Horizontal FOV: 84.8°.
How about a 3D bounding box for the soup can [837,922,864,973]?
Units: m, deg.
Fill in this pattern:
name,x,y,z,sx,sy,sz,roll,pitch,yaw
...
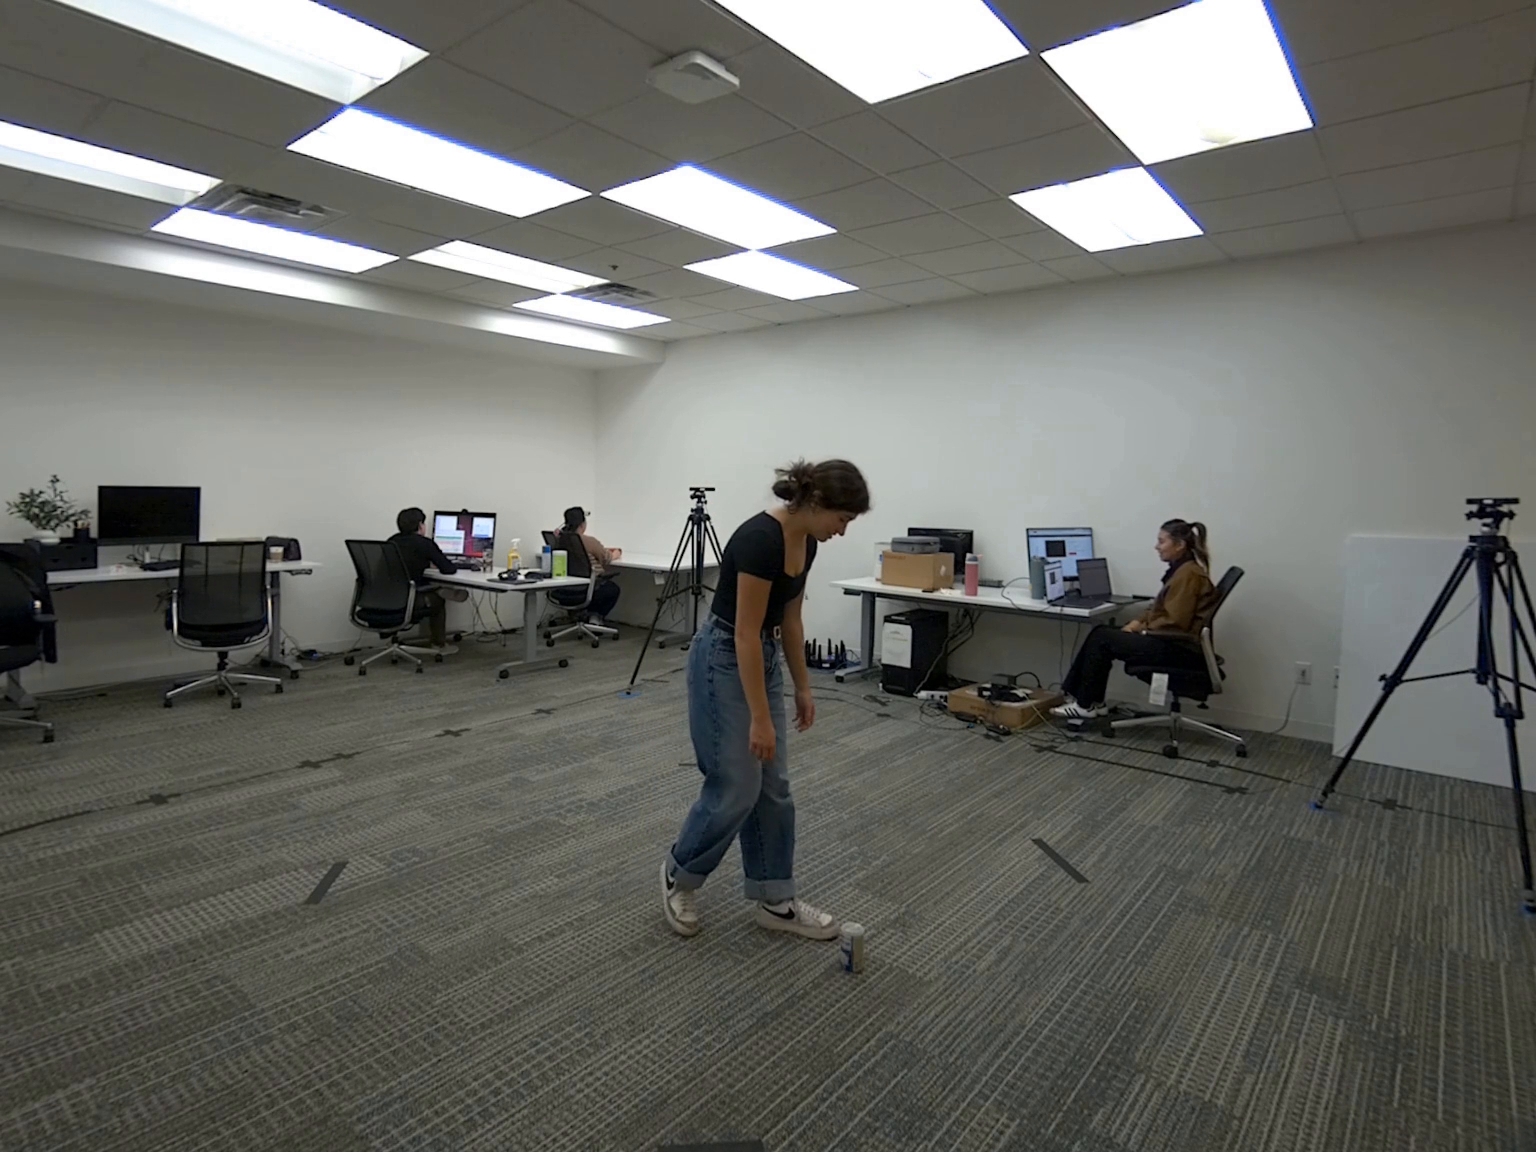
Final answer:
name,x,y,z,sx,sy,sz,roll,pitch,yaw
soup can,0.241,1.081,2.476,0.067,0.121,0.067,1,5,-2
